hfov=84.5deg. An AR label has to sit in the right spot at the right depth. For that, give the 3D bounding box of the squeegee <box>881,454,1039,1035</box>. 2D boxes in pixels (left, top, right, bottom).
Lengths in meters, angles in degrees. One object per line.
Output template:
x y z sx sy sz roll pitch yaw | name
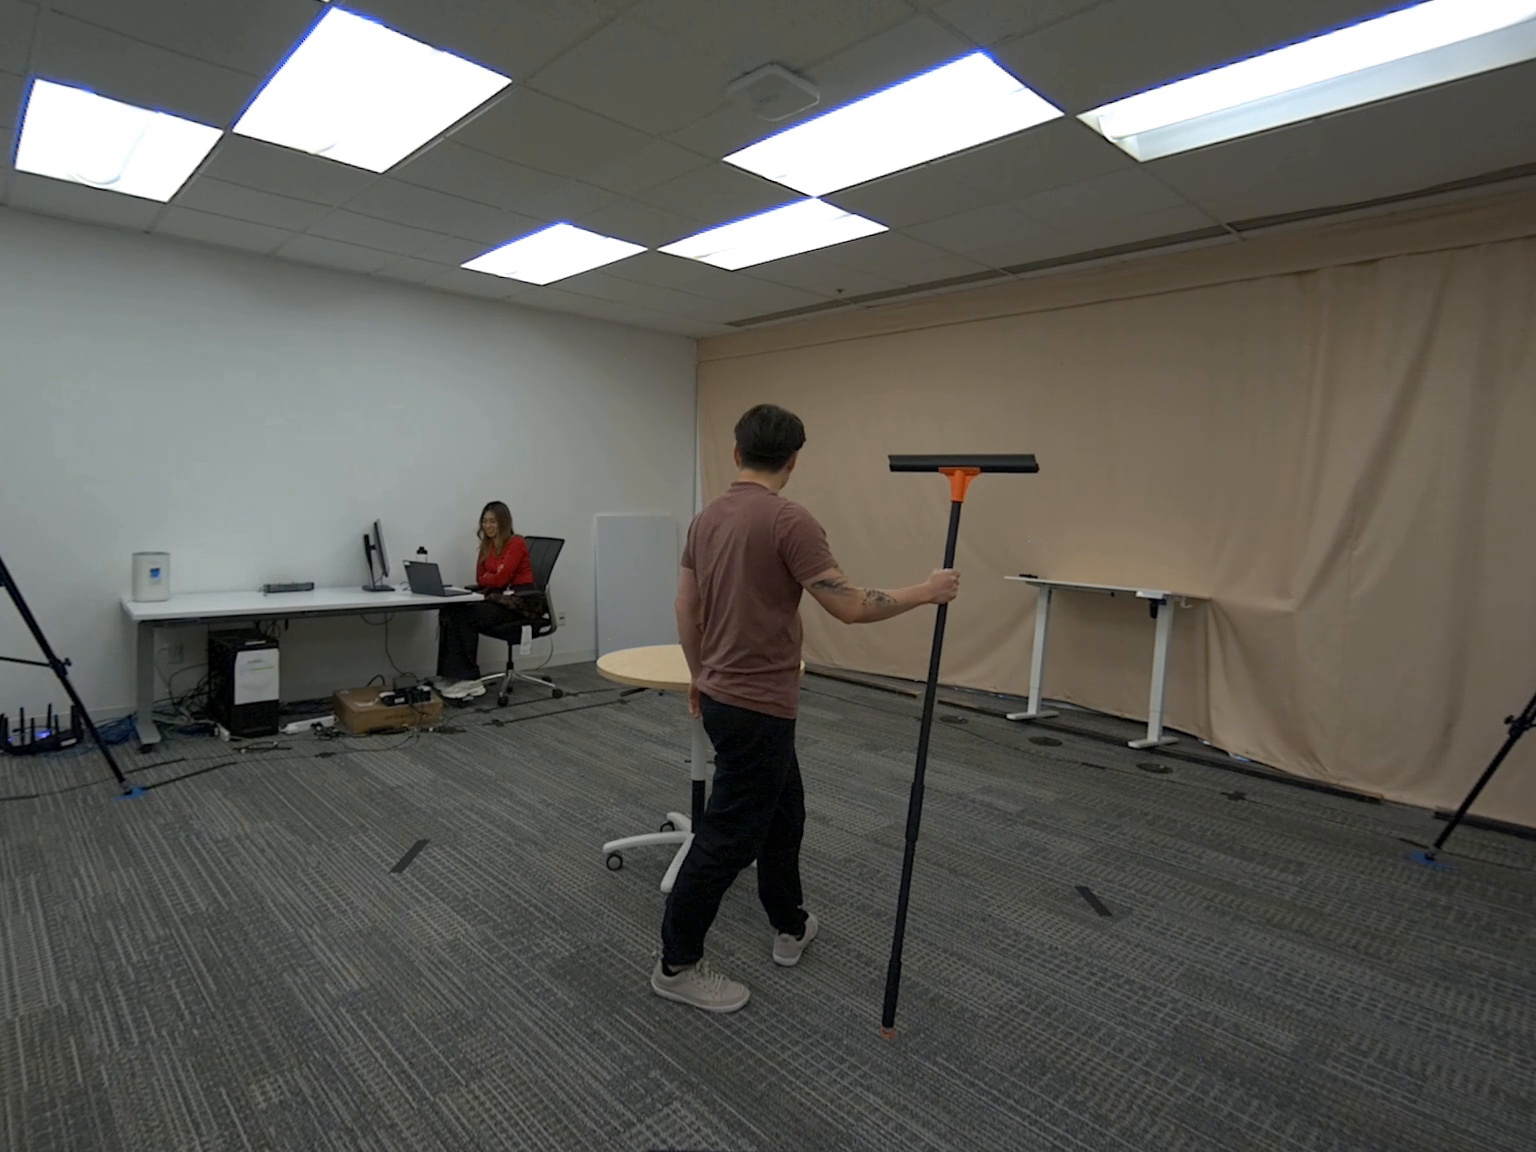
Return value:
0.421 0.427 2.248 0.448 1.542 0.051 5 -5 37 | squeegee
